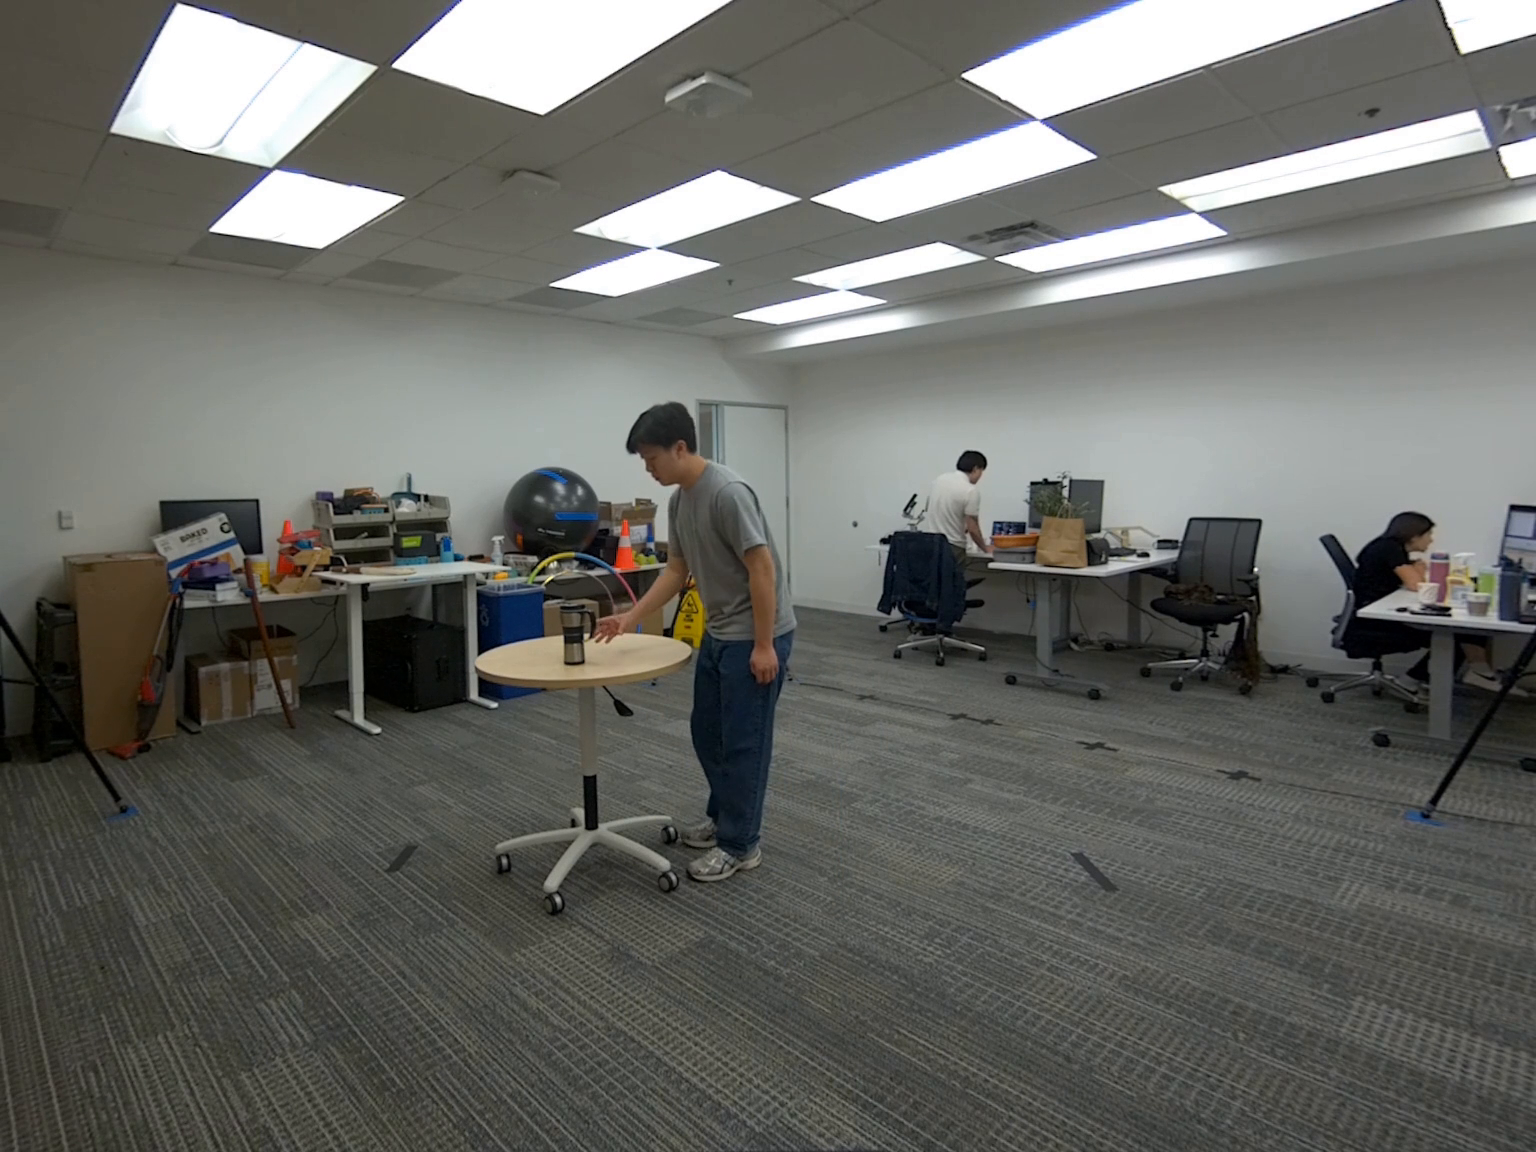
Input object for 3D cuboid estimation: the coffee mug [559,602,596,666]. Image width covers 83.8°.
[{"bbox_3d":[-0.640,0.201,2.892,0.125,0.203,0.085,-1,-1,38],"label":"coffee mug"}]
